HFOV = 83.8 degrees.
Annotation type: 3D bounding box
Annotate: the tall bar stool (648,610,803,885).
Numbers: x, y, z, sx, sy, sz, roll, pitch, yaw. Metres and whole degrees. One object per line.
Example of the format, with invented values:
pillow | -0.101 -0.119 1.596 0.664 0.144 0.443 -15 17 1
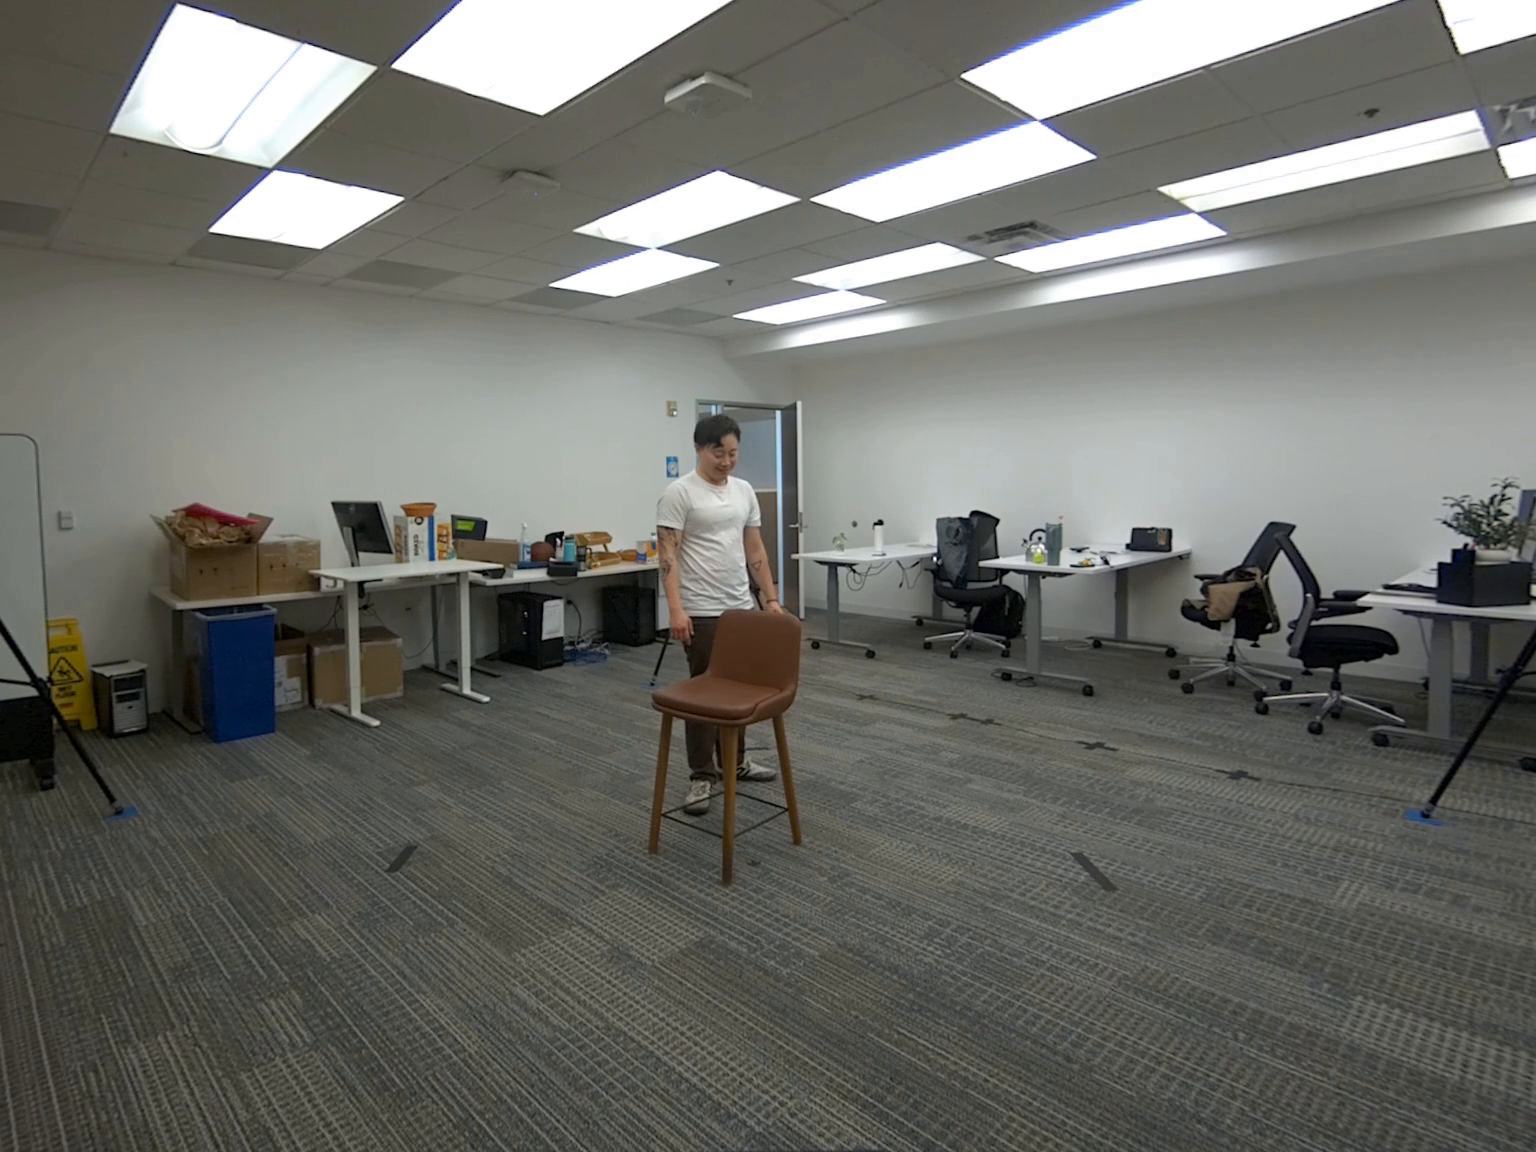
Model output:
tall bar stool | -0.155 0.599 3.216 0.470 0.888 0.454 3 3 41
